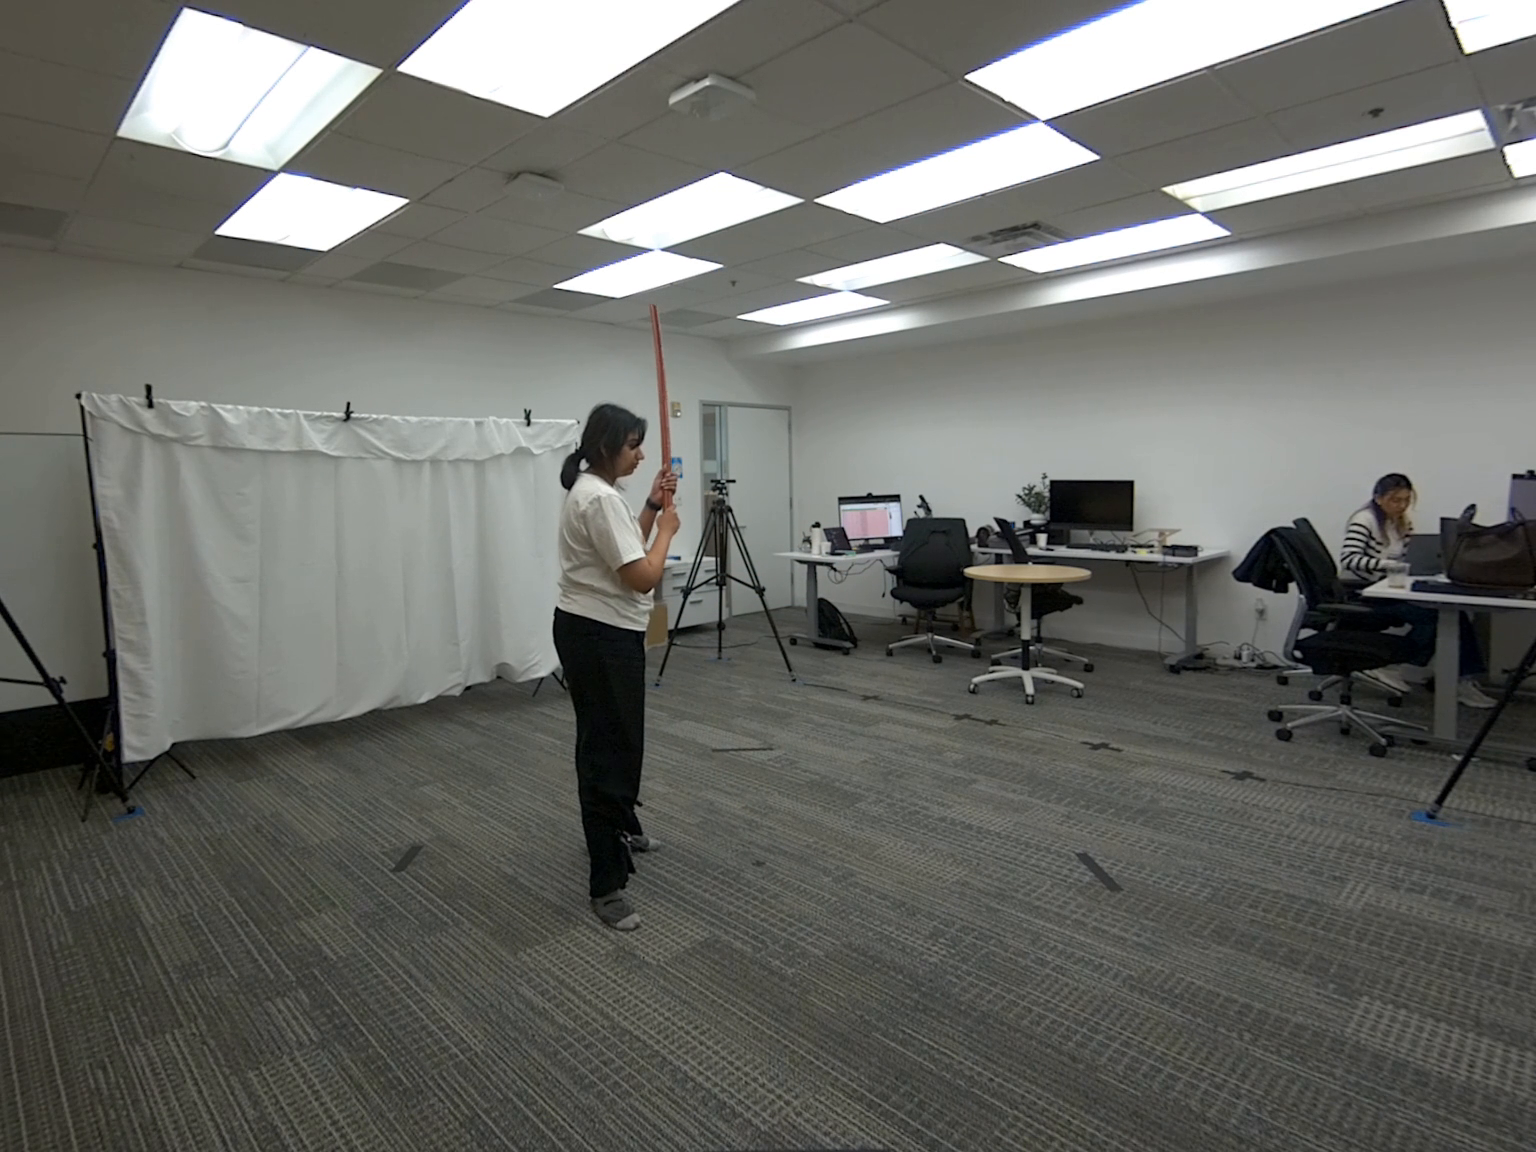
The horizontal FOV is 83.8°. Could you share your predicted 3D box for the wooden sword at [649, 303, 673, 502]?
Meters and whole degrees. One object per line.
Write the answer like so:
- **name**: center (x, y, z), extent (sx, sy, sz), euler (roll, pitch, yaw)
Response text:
- **wooden sword**: center (-0.394, -0.640, 3.268), extent (0.052, 1.047, 0.023), euler (-19, -24, 25)
